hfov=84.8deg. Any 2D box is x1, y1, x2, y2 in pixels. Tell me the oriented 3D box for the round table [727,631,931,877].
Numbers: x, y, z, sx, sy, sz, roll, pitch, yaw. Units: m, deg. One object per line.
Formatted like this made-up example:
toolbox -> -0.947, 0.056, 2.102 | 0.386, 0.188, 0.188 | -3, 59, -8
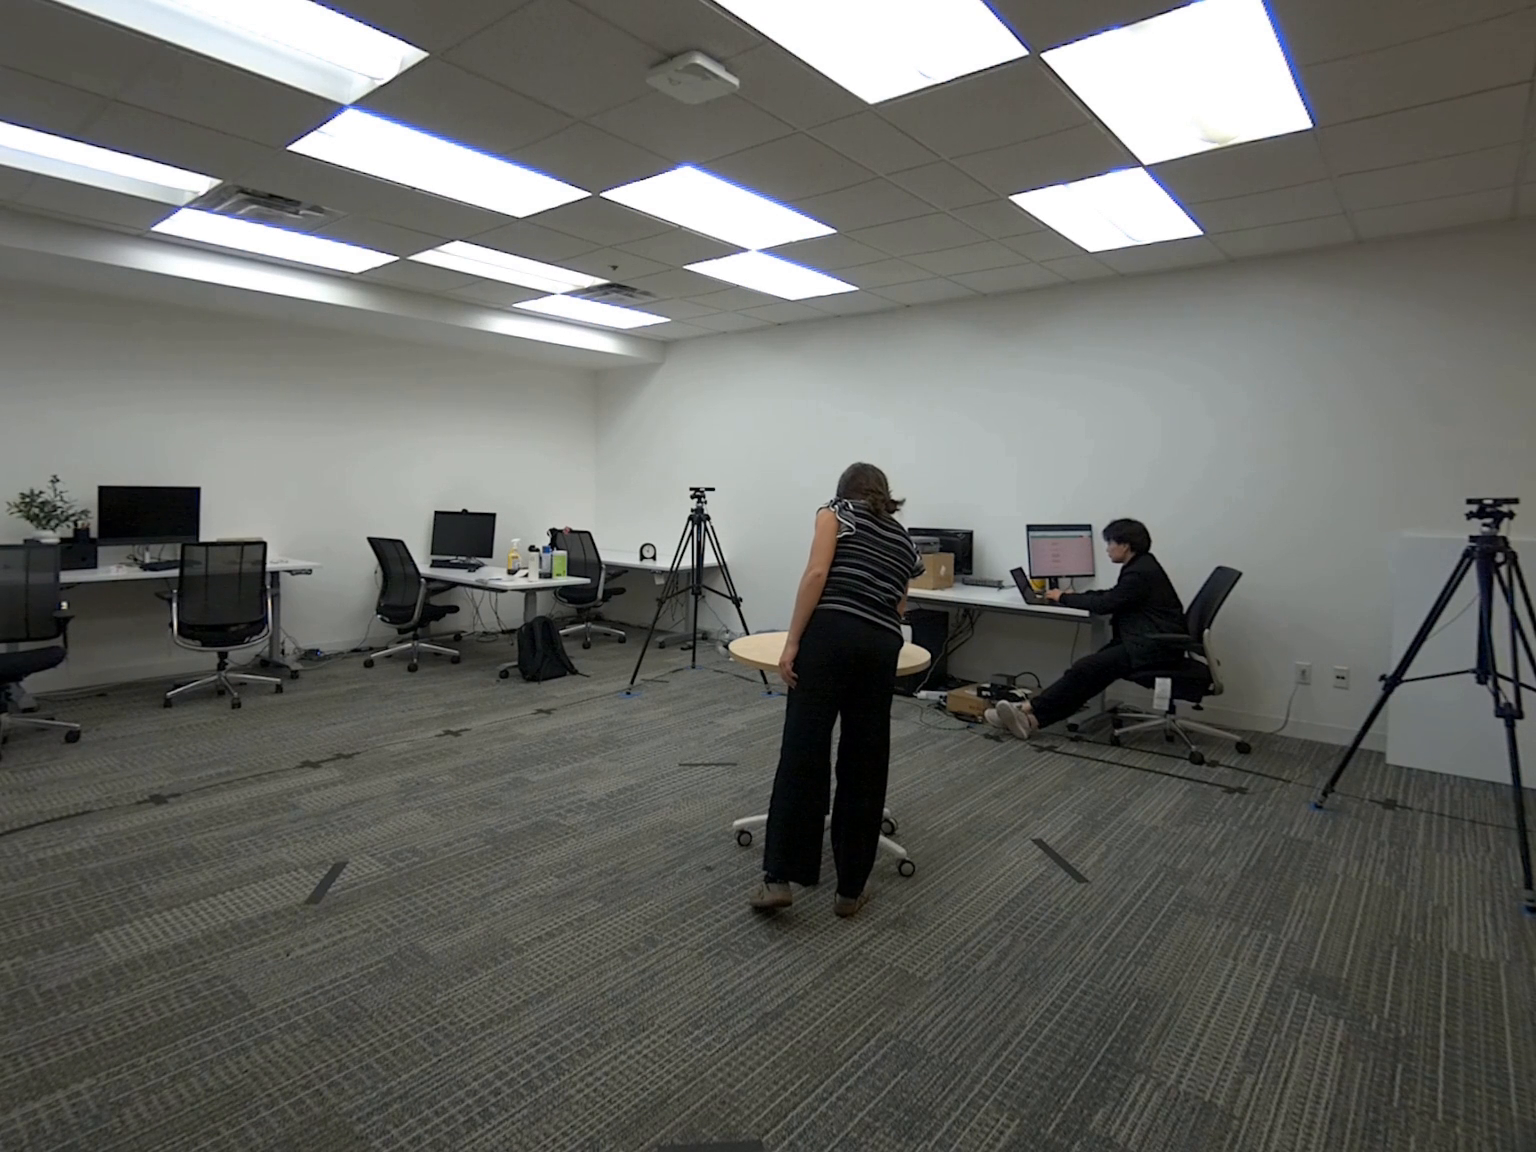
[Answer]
round table -> 0.214, 0.666, 3.293 | 0.763, 0.791, 0.768 | 1, 5, -2
